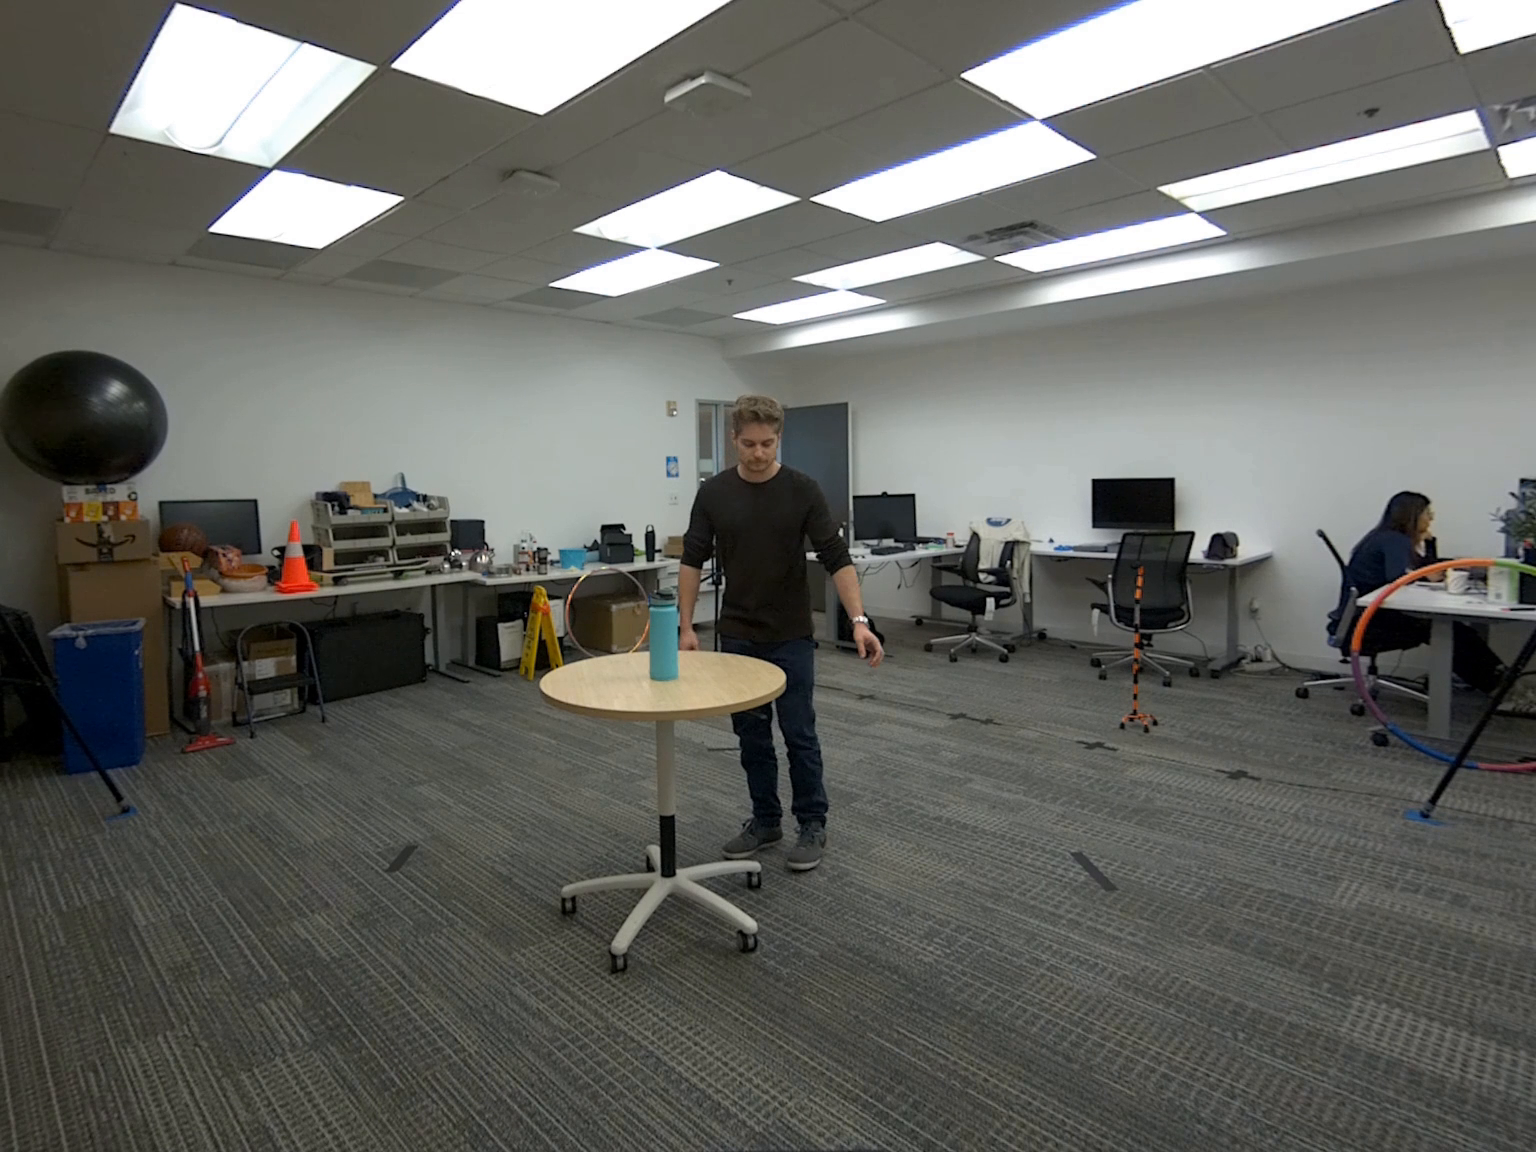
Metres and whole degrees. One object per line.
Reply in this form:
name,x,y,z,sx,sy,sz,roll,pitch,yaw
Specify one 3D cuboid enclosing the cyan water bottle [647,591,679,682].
cyan water bottle,-0.327,0.181,2.660,0.092,0.282,0.093,-2,4,-1
